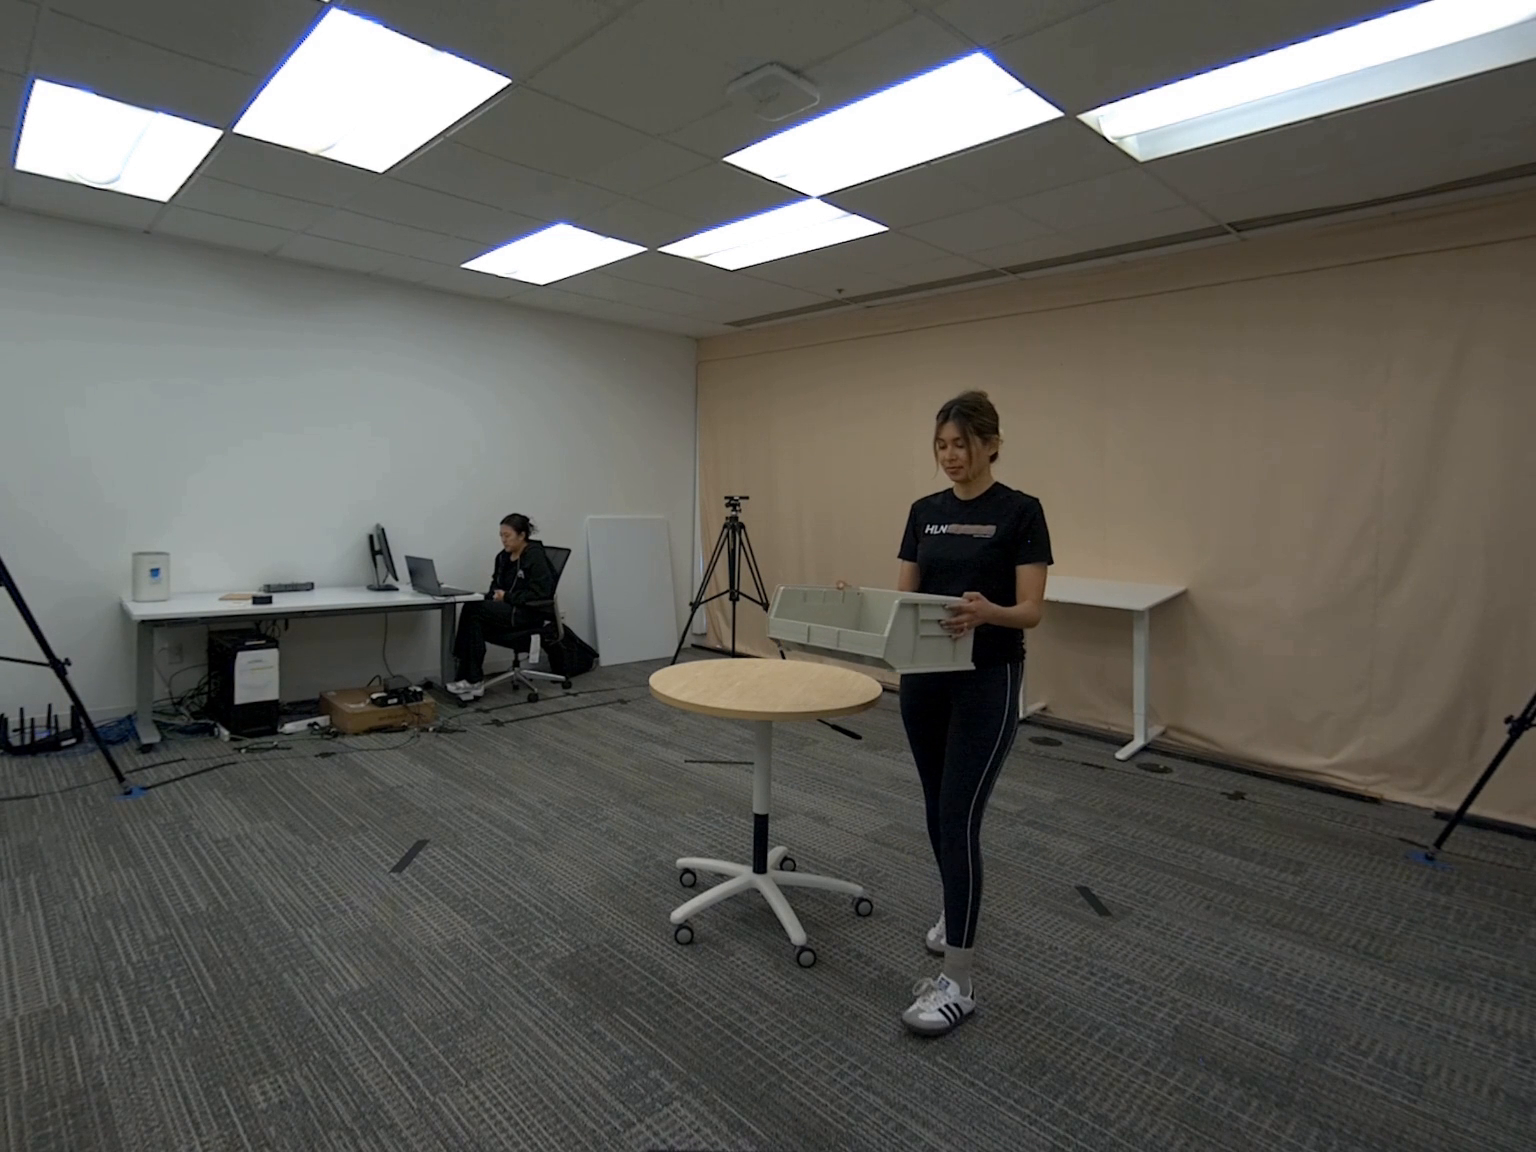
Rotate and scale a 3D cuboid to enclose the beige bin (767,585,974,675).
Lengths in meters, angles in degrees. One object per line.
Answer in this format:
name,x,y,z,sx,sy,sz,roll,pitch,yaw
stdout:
beige bin,0.258,0.131,2.204,0.368,0.189,0.433,6,0,-40
